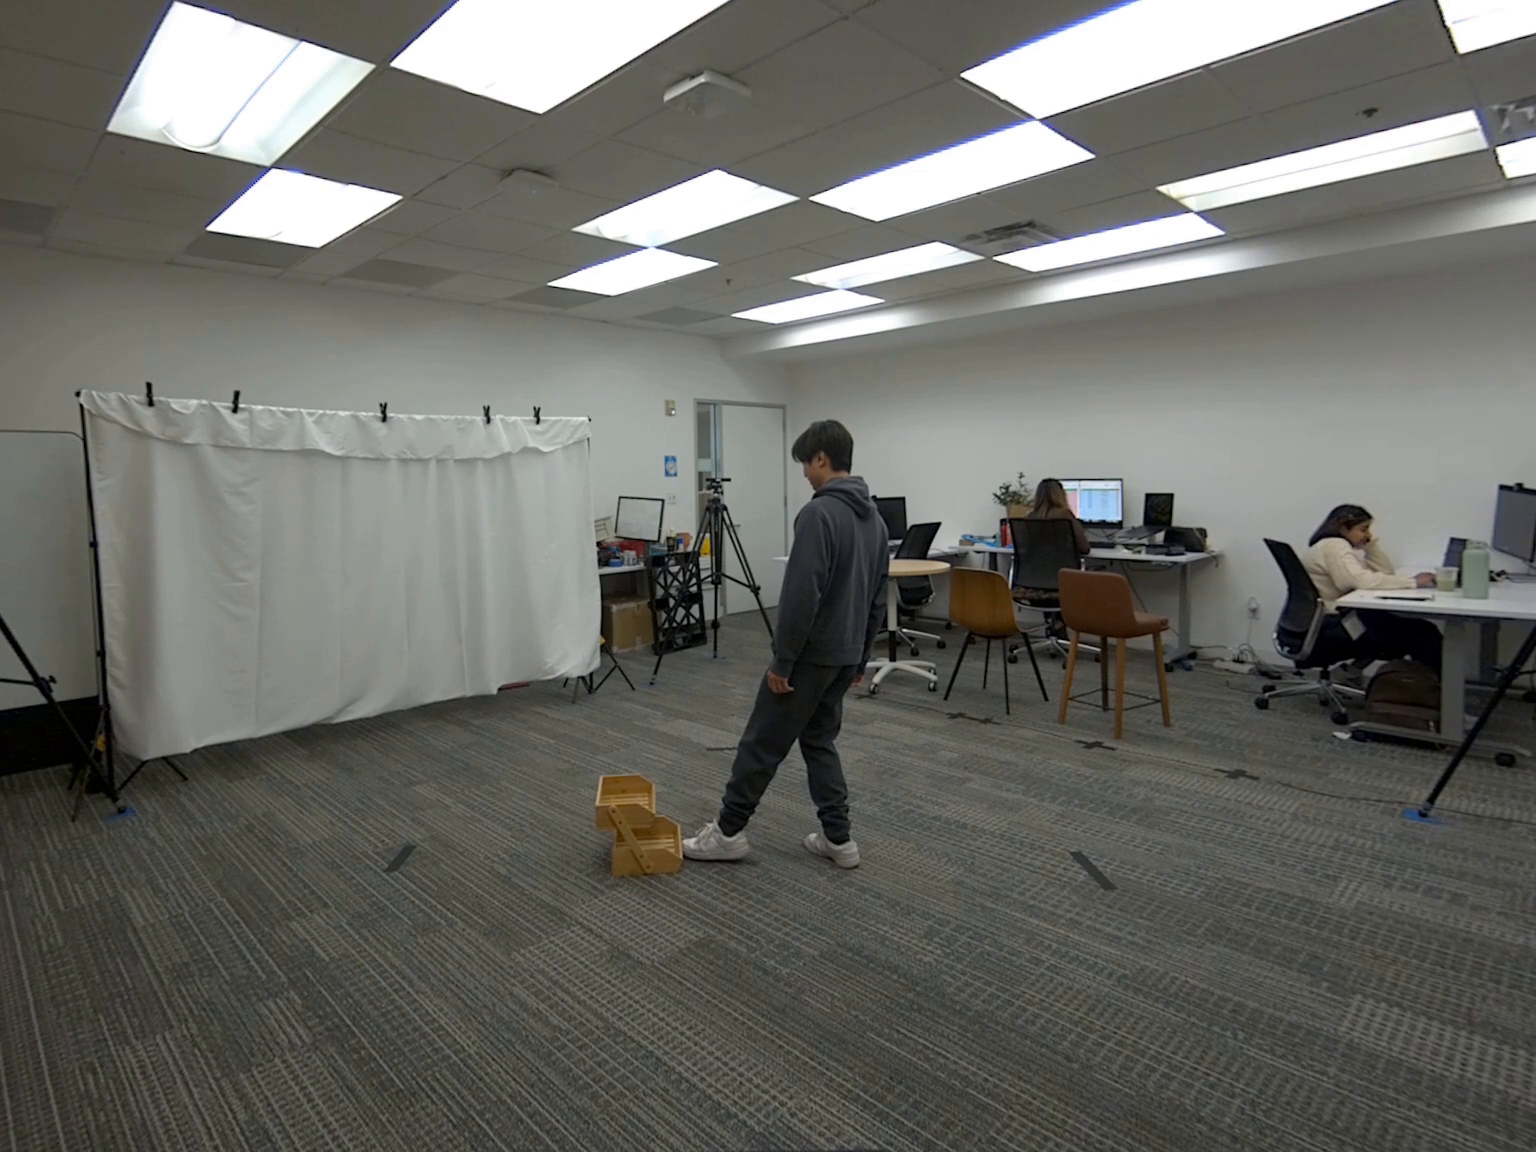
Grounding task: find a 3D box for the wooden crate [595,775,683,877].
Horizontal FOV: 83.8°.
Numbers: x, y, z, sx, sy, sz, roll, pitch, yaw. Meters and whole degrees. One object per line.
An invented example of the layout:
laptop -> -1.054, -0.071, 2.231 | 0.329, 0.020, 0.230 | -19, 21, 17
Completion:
wooden crate -> -0.466, 0.905, 3.167 | 0.300, 0.272, 0.328 | -2, 5, -7
